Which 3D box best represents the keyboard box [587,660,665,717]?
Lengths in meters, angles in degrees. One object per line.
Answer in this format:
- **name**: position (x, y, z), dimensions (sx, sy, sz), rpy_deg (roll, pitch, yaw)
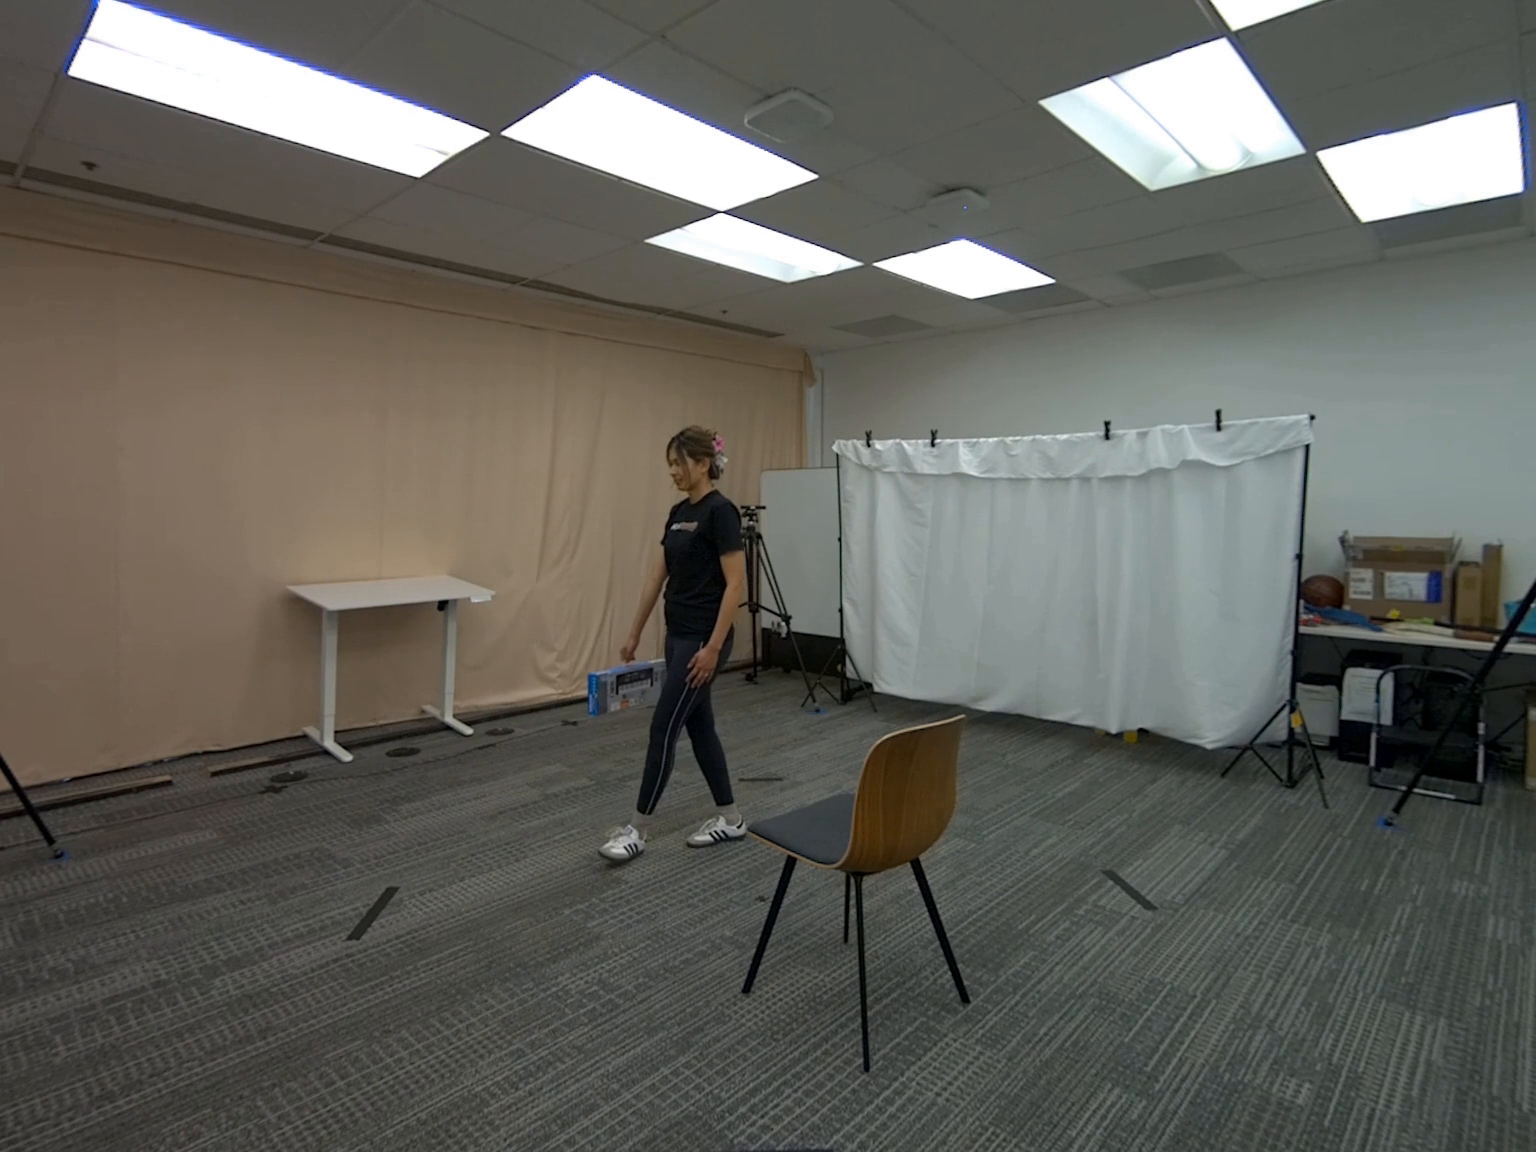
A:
- **keyboard box**: position (-0.591, 0.476, 3.624), dimensions (0.061, 0.175, 0.424), rpy_deg (4, 6, 37)
